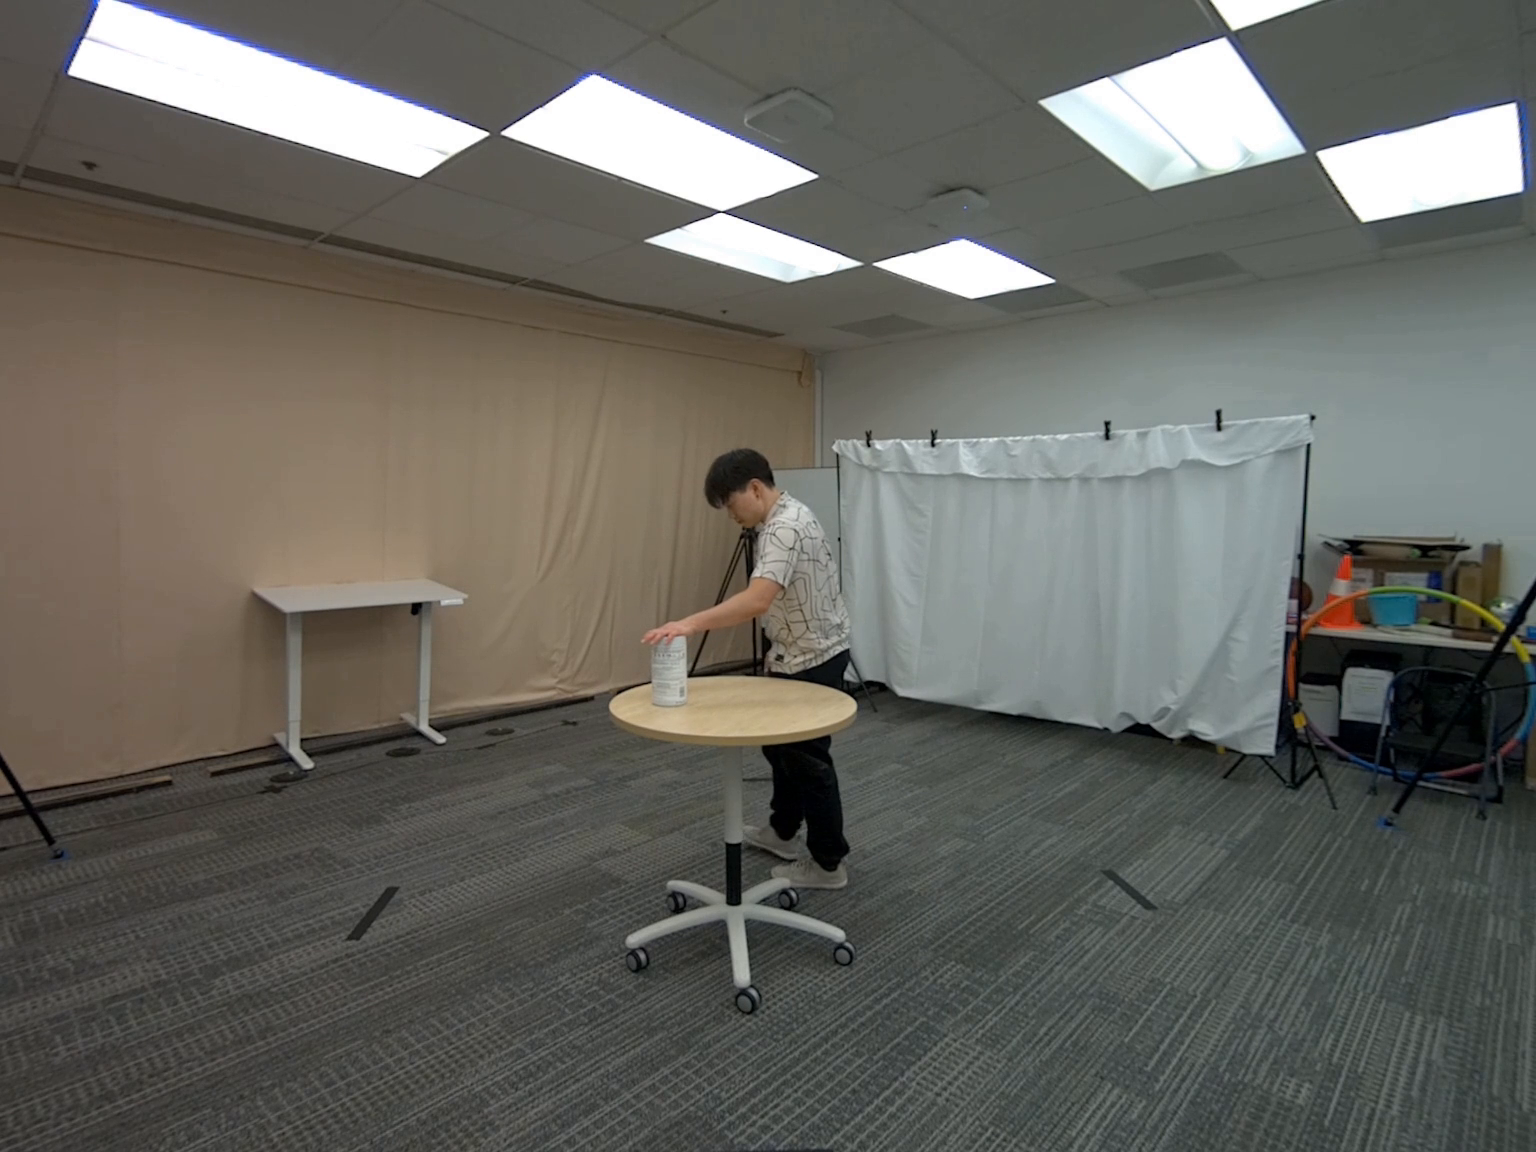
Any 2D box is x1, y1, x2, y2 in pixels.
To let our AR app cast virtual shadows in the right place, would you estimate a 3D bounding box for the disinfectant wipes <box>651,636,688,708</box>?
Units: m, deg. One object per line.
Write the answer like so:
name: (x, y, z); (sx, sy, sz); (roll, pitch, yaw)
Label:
disinfectant wipes: (-0.300, 0.291, 2.606); (0.118, 0.217, 0.118); (1, 3, -2)
